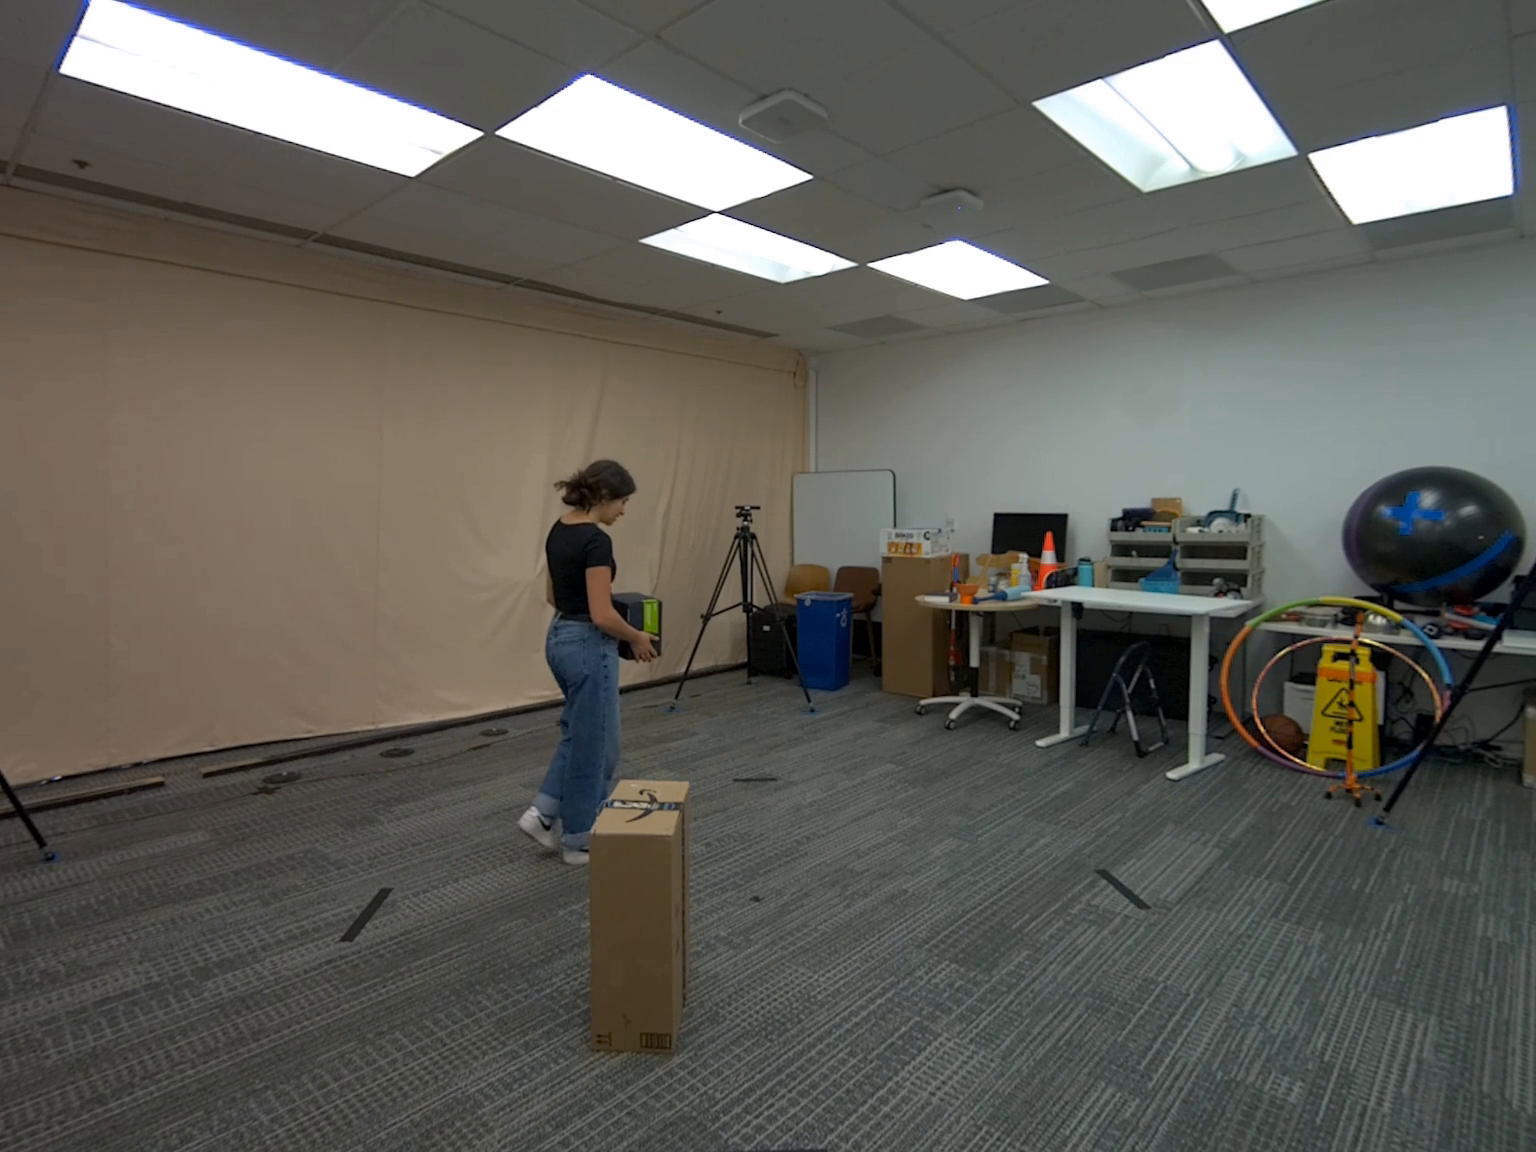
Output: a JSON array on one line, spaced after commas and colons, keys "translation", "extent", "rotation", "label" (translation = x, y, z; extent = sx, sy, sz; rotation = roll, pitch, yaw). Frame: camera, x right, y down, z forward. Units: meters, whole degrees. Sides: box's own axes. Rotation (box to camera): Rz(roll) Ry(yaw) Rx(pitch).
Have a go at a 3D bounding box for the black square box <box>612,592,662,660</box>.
[{"translation": [-0.557, 0.197, 3.390], "extent": [0.151, 0.227, 0.224], "rotation": [-3, 11, -36], "label": "black square box"}]
